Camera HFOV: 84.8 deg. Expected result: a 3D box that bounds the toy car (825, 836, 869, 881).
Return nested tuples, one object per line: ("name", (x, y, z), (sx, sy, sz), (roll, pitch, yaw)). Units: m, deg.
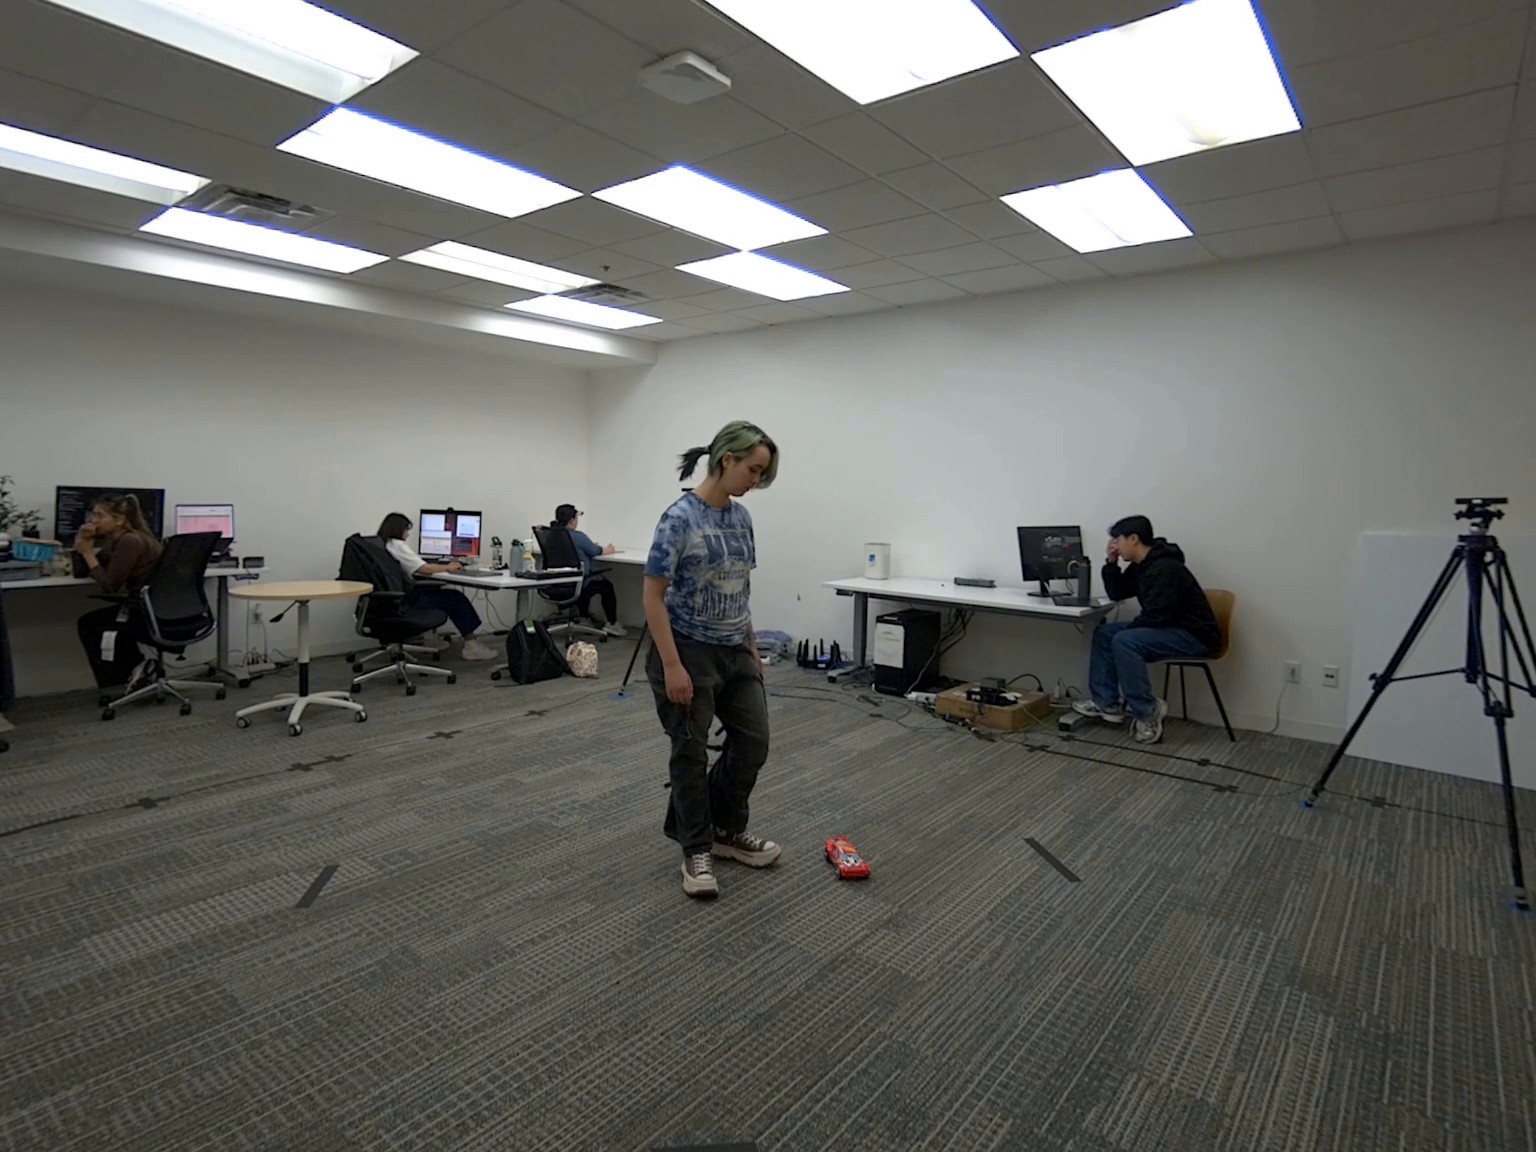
("toy car", (0.280, 1.048, 3.153), (0.129, 0.082, 0.261), (-1, 17, -10))
